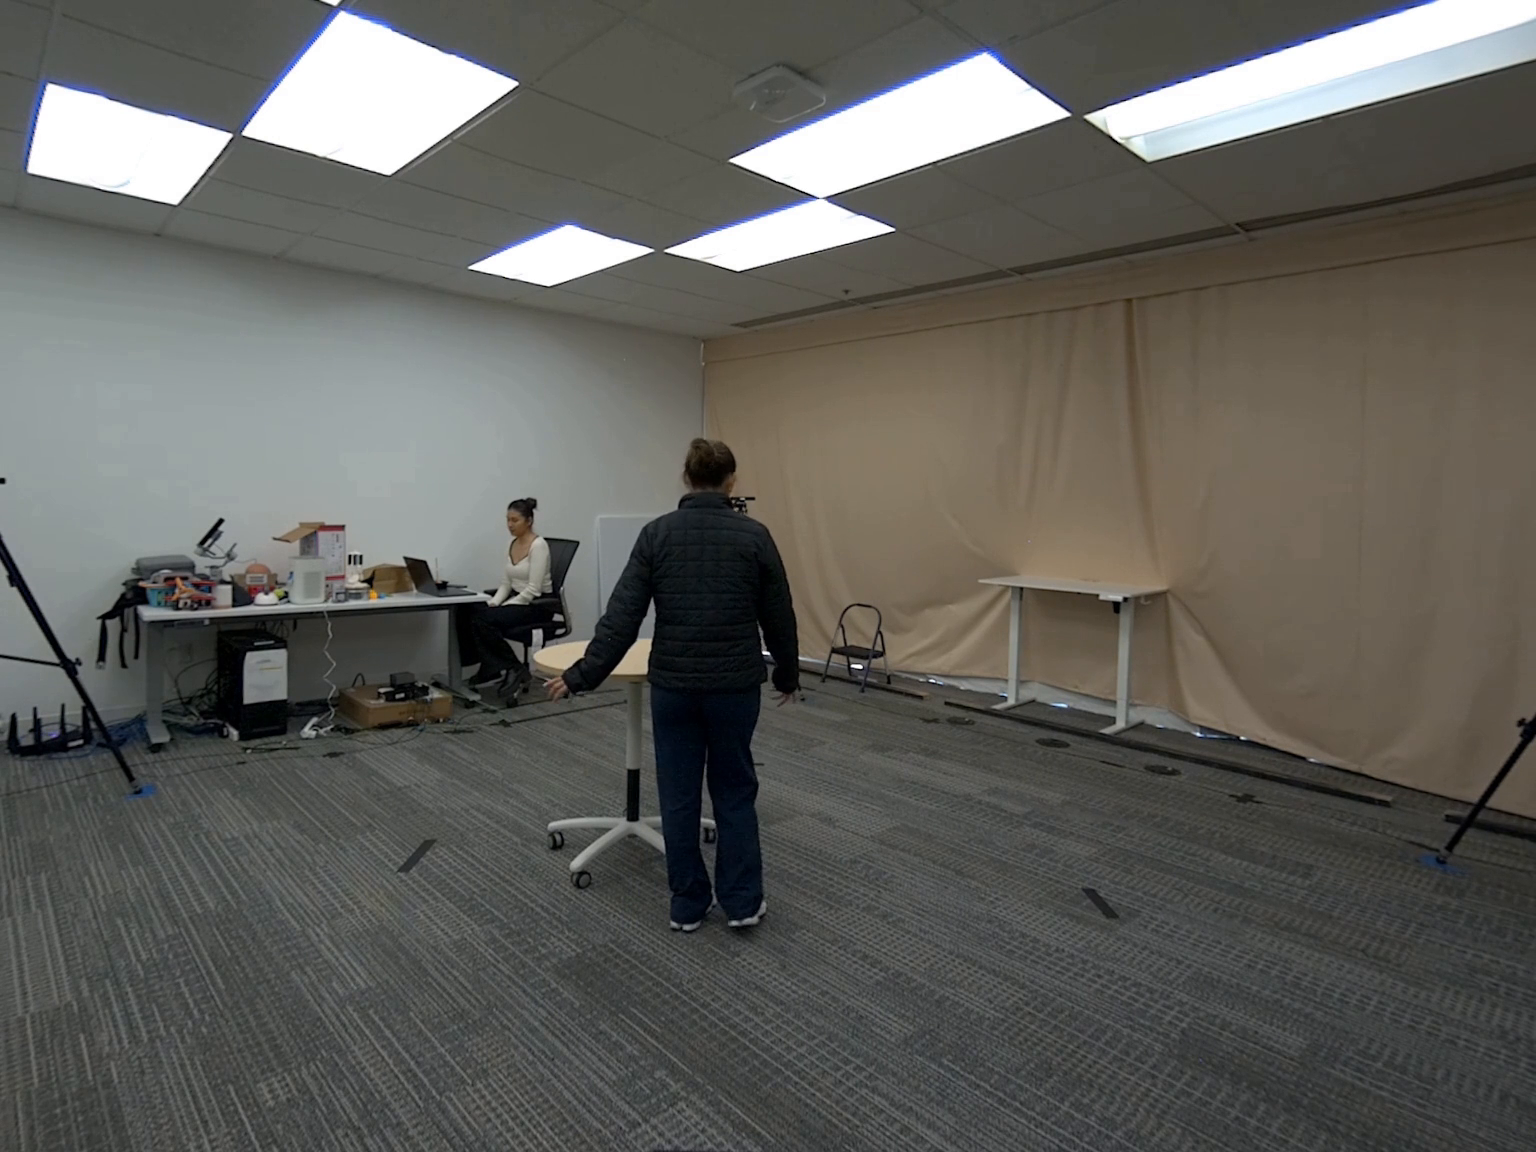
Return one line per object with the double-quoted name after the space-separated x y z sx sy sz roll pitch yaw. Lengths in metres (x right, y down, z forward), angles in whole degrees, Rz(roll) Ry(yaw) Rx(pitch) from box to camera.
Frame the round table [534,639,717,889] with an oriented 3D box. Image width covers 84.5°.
-0.515 0.694 3.219 0.784 0.785 0.787 1 3 -1 "round table"
